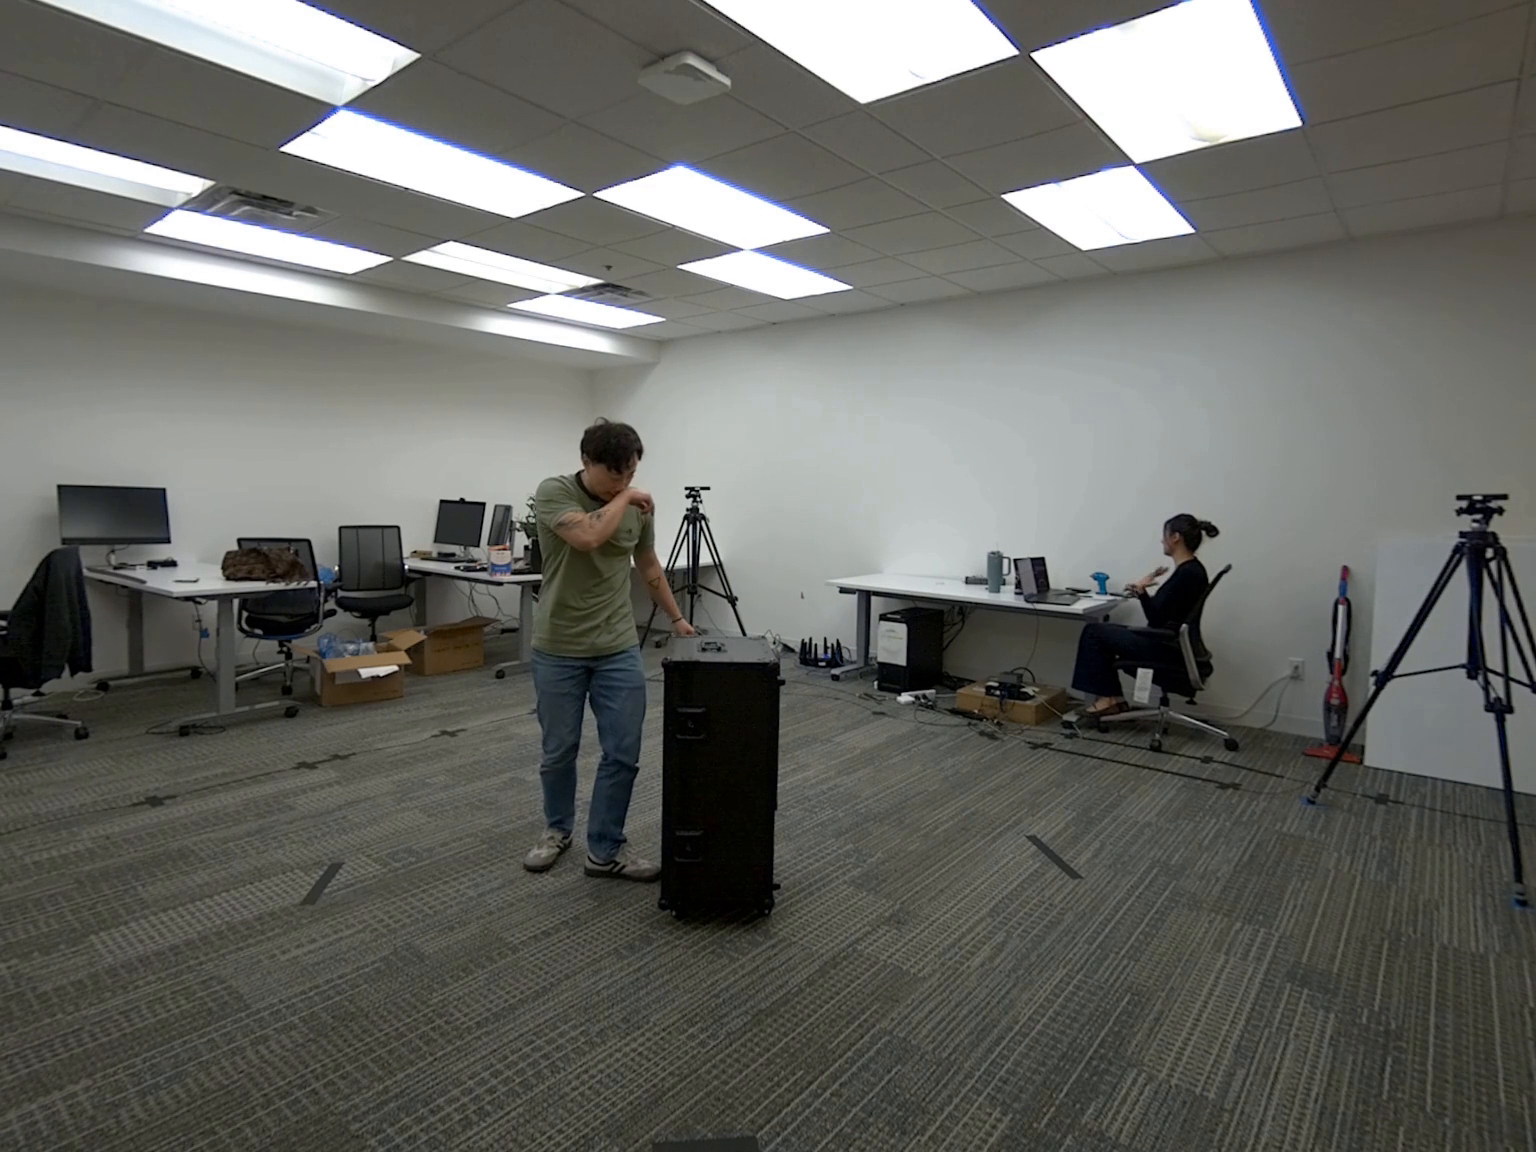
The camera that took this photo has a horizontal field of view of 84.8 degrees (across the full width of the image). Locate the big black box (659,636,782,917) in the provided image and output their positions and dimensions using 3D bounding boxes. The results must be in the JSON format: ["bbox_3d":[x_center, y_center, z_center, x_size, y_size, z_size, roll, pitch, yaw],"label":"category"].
[{"bbox_3d":[-0.166,0.662,2.875,0.396,0.860,0.523,1,2,-3],"label":"big black box"}]
